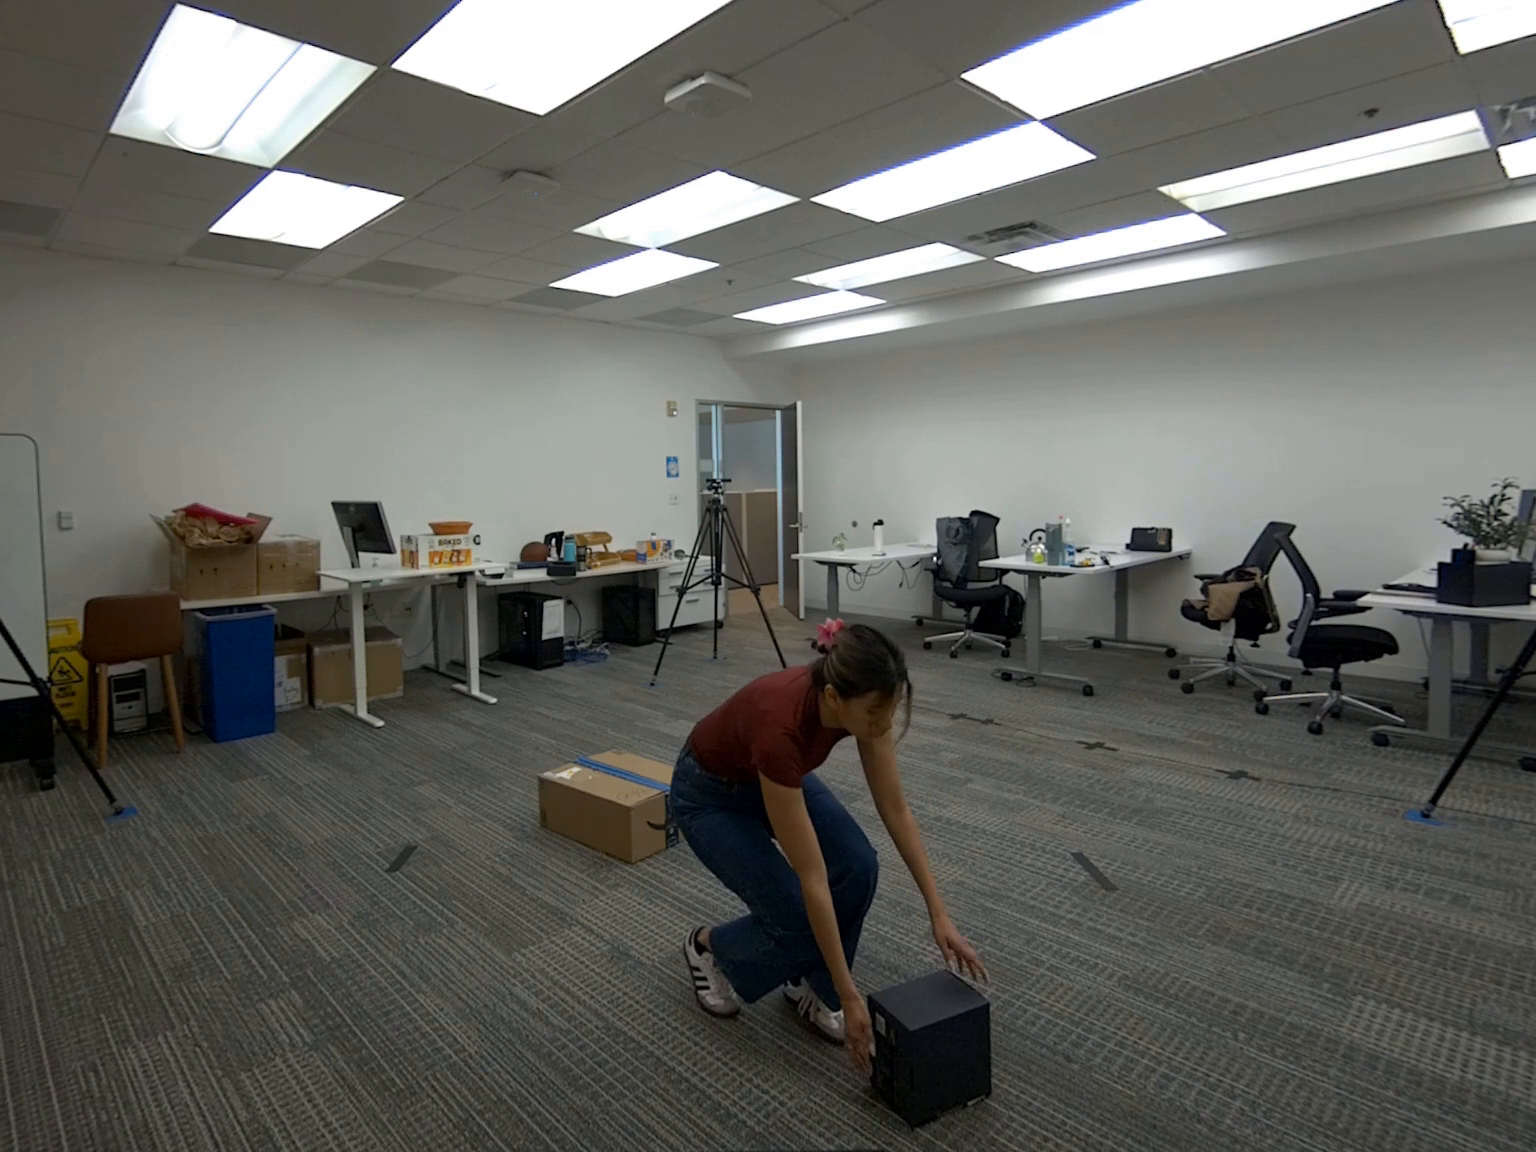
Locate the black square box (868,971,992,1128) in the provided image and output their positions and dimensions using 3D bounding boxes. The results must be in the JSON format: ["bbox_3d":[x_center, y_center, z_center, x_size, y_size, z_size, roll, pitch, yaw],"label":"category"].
[{"bbox_3d":[0.372,1.054,1.943,0.223,0.216,0.160,-3,4,-27],"label":"black square box"}]
